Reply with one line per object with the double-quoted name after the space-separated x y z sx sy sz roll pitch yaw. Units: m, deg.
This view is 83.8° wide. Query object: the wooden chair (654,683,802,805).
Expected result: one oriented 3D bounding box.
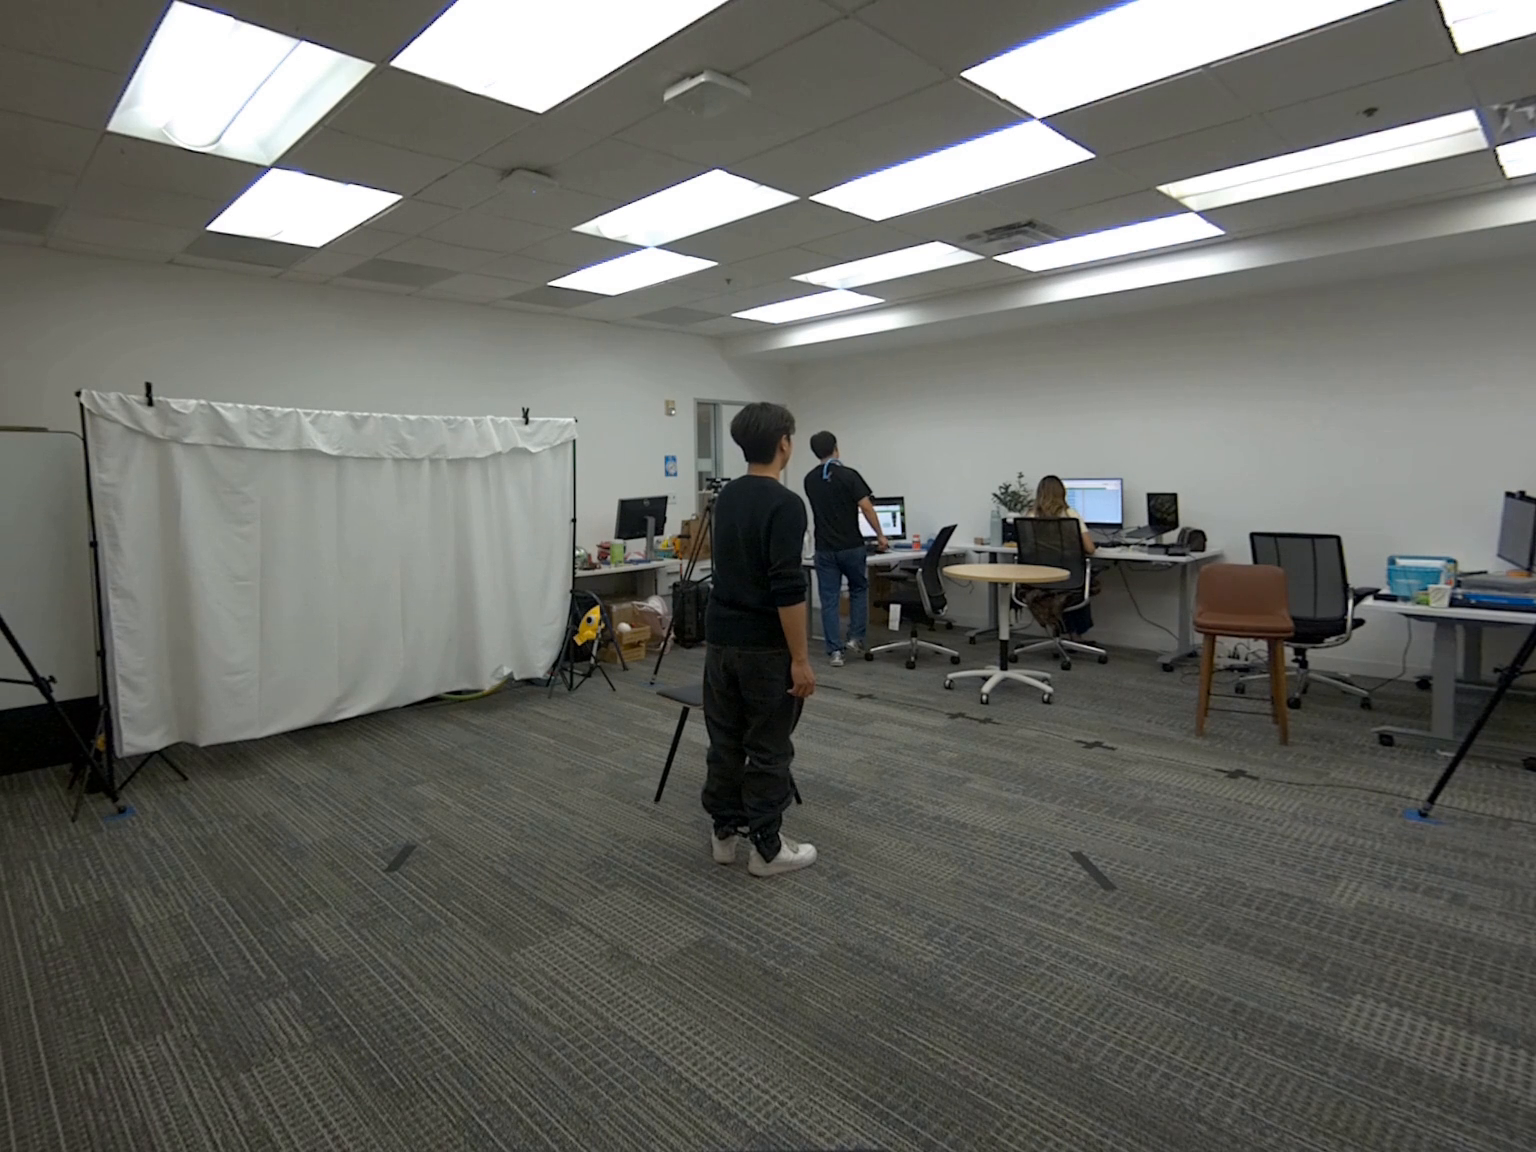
-0.181 0.555 3.657 0.465 0.871 0.541 -5 10 -42 "wooden chair"
